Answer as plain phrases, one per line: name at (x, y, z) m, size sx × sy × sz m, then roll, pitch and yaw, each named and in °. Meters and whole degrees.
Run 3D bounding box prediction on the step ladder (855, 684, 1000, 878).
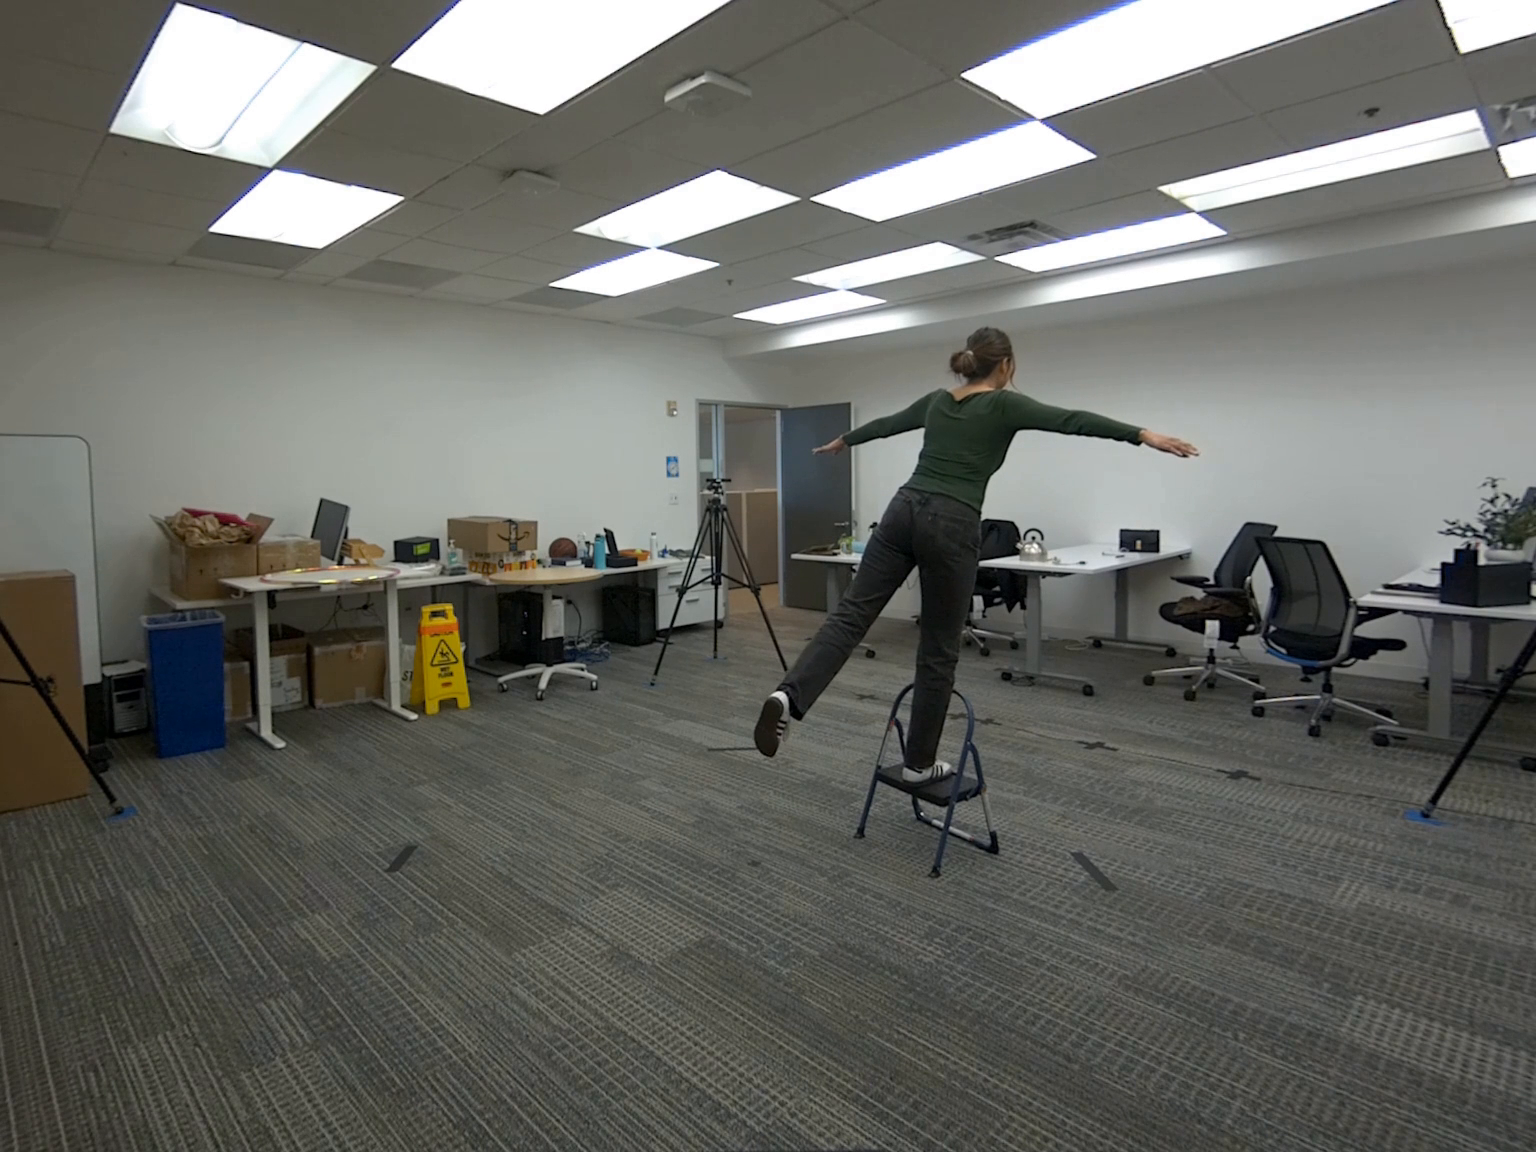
step ladder at (0.594, 0.719, 3.218) m, size 0.340 × 0.604 × 0.443 m, roll -3°, pitch 5°, yaw -34°
